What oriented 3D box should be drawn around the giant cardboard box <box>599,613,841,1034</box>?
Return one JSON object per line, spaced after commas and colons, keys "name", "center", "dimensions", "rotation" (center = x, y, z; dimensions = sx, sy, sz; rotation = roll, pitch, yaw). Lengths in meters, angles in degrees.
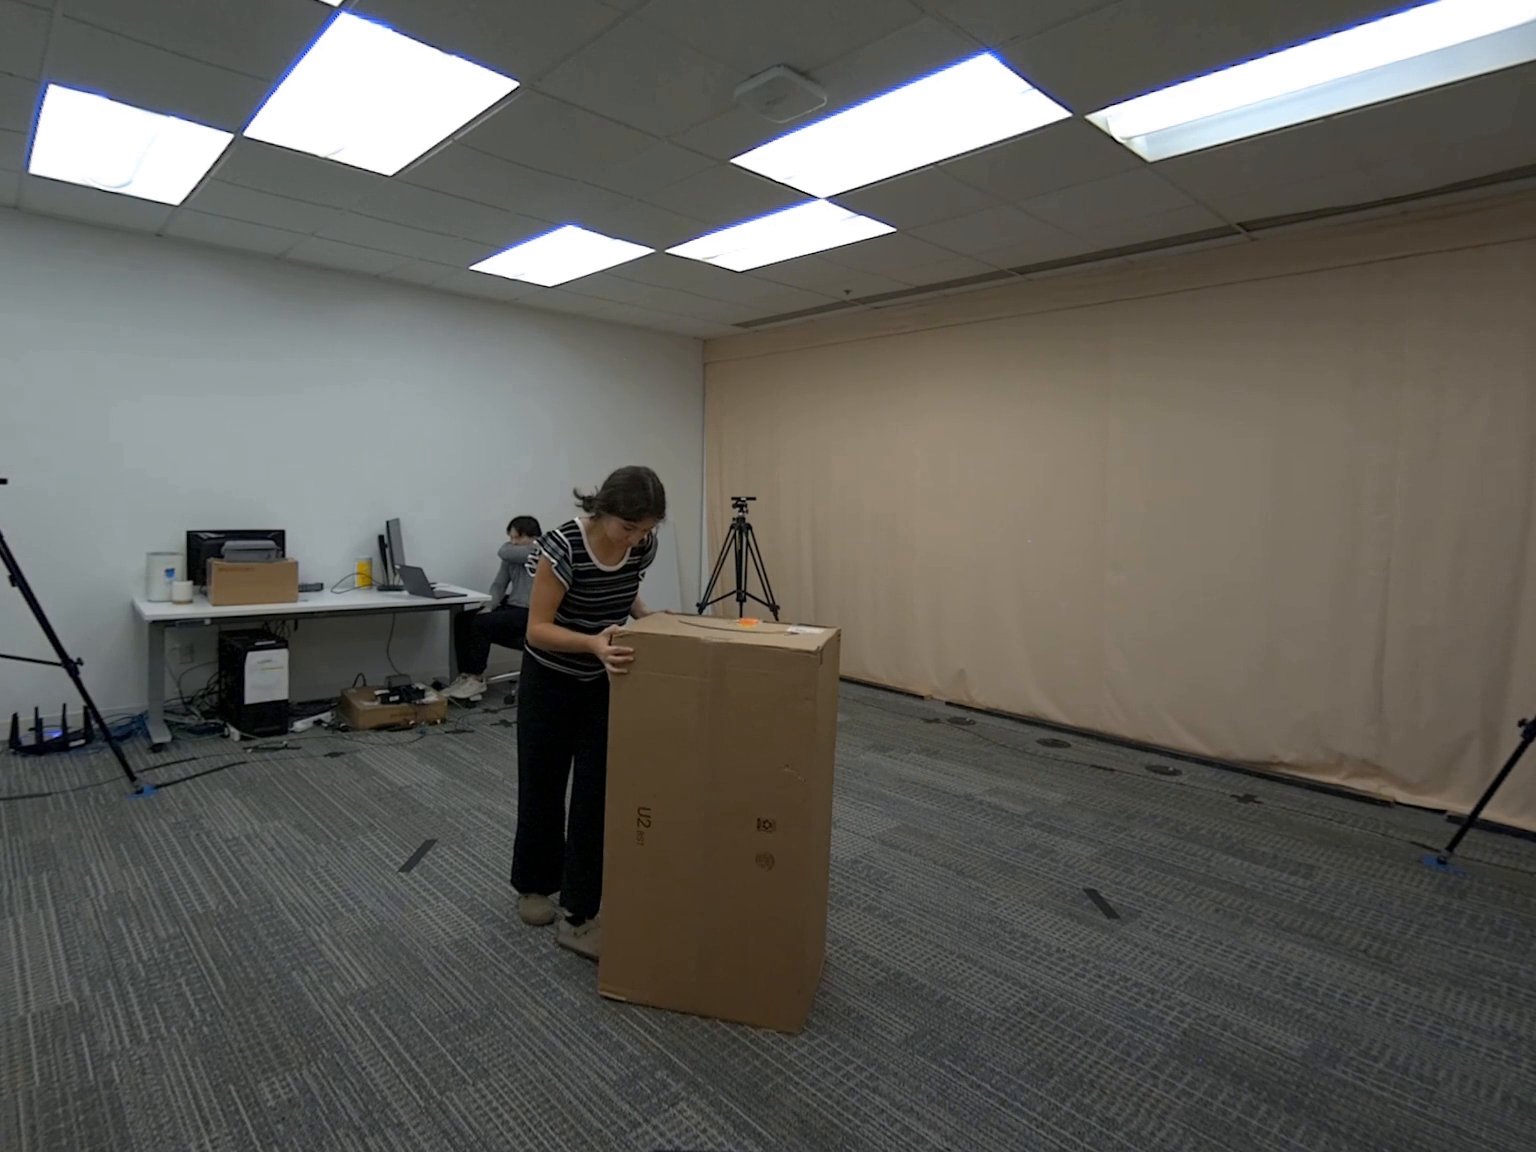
{"name": "giant cardboard box", "center": [-0.125, 0.662, 2.431], "dimensions": [0.585, 1.023, 0.421], "rotation": [4, 3, 15]}
